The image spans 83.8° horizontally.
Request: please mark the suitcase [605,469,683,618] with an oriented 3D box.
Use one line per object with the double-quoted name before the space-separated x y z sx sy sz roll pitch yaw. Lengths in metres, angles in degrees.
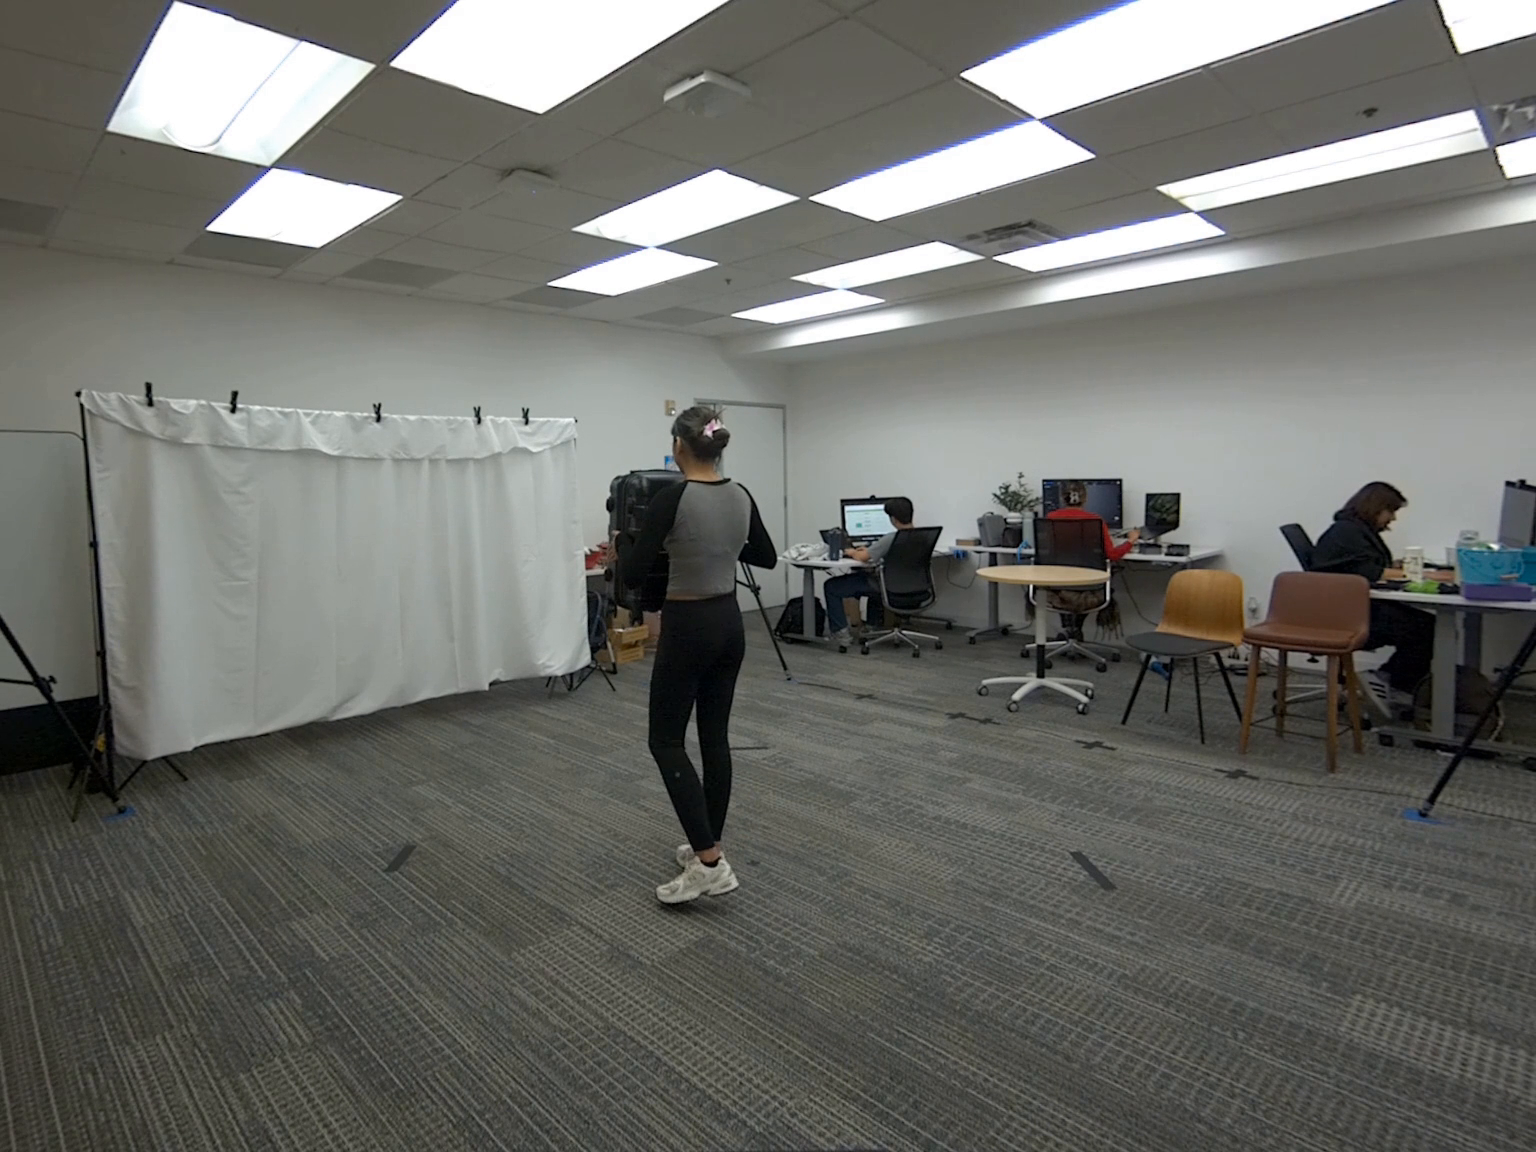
"suitcase" -0.398 -0.116 3.164 0.365 0.547 0.256 -1 7 -36
